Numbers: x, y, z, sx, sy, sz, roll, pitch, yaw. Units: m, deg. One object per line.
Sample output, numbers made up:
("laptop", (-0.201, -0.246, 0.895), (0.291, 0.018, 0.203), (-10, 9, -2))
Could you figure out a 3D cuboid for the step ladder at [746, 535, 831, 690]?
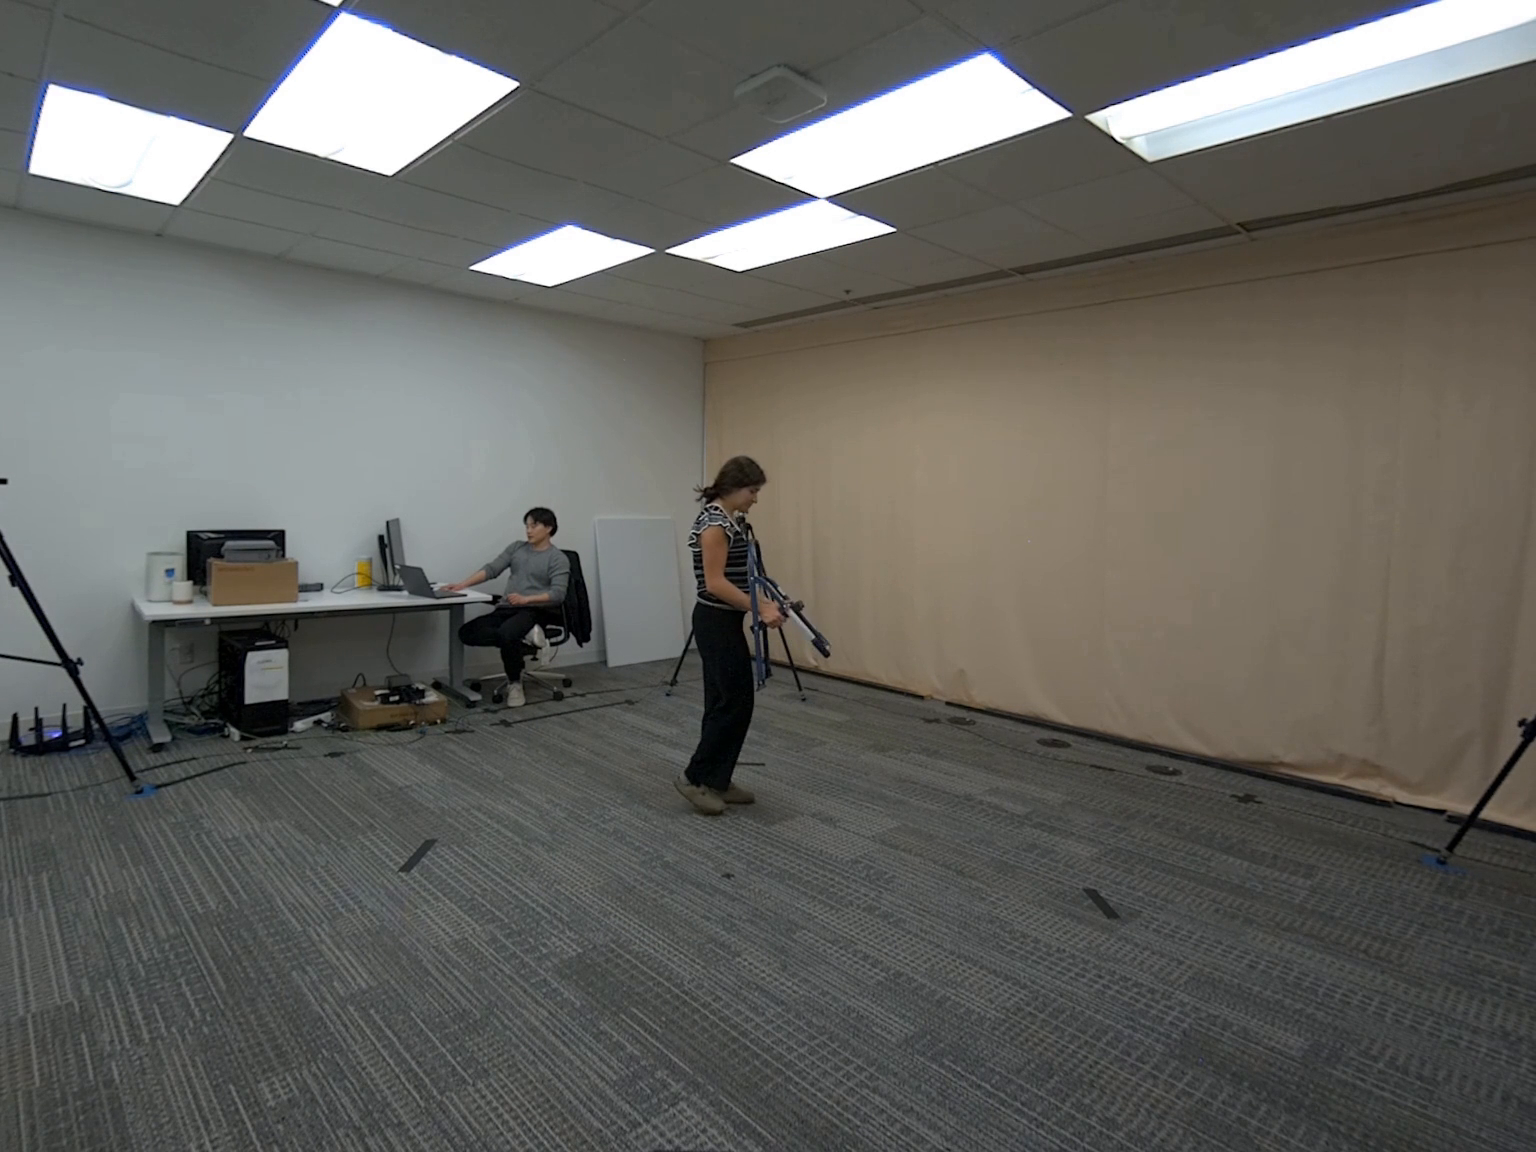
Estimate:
("step ladder", (-0.014, 0.138, 3.802), (0.350, 0.608, 0.428), (-26, -3, 4))
